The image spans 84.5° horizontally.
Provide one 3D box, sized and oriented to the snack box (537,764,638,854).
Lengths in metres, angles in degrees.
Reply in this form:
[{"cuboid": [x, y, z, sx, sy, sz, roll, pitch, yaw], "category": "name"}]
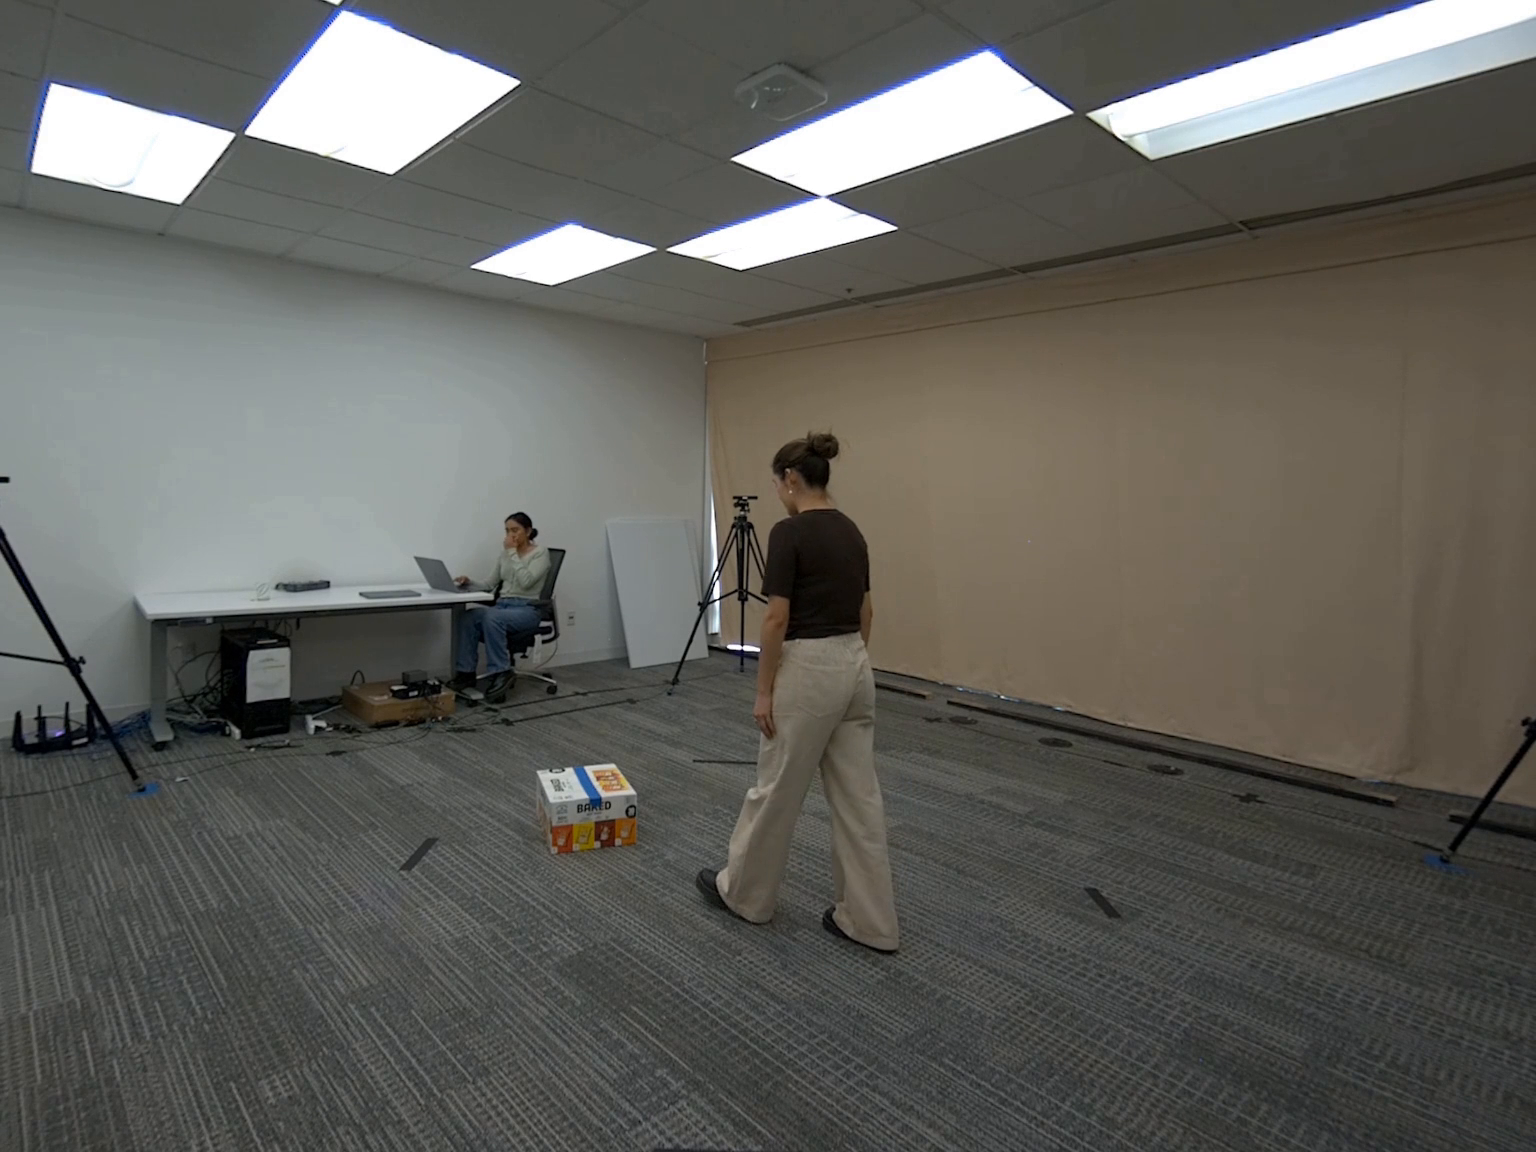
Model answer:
[{"cuboid": [-0.769, 0.954, 3.484, 0.335, 0.205, 0.413, 0, 5, -22], "category": "snack box"}]
